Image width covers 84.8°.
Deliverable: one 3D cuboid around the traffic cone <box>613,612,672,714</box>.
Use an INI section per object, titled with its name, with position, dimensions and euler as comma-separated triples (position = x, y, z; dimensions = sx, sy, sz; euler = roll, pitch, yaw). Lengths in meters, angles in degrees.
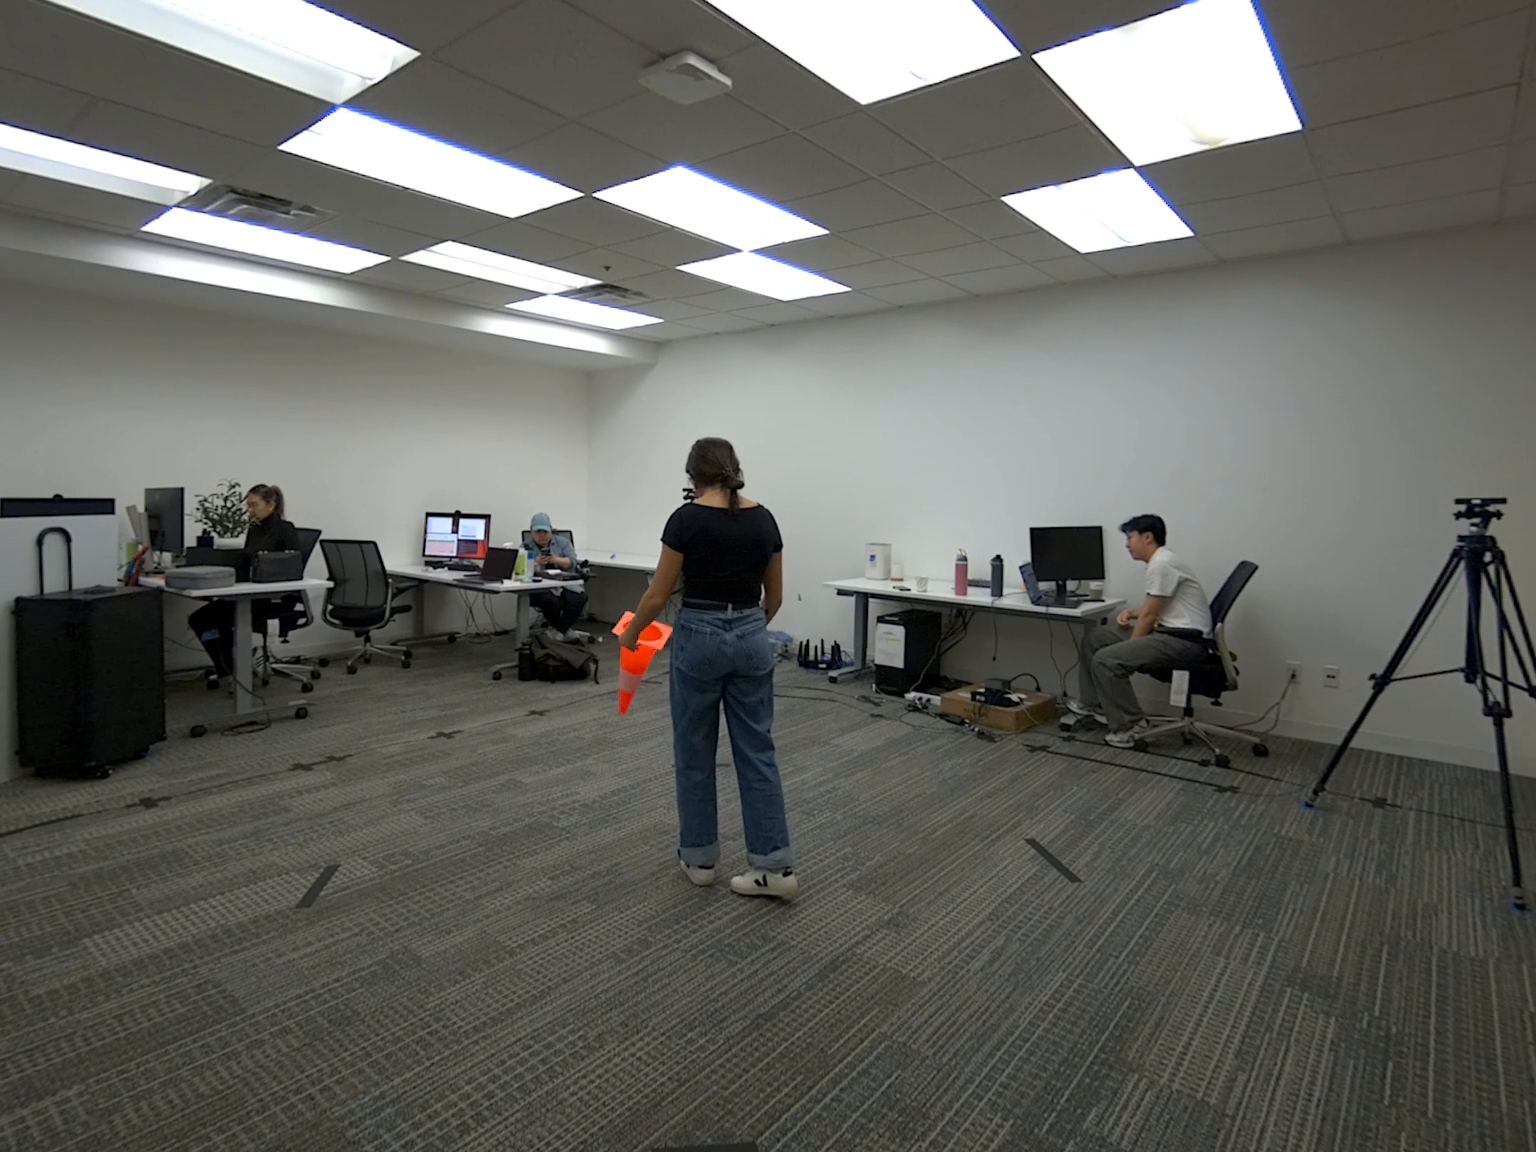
[traffic cone]
position = -0.519, 0.374, 3.291
dimensions = 0.207, 0.378, 0.204
euler = 20, 23, 5
